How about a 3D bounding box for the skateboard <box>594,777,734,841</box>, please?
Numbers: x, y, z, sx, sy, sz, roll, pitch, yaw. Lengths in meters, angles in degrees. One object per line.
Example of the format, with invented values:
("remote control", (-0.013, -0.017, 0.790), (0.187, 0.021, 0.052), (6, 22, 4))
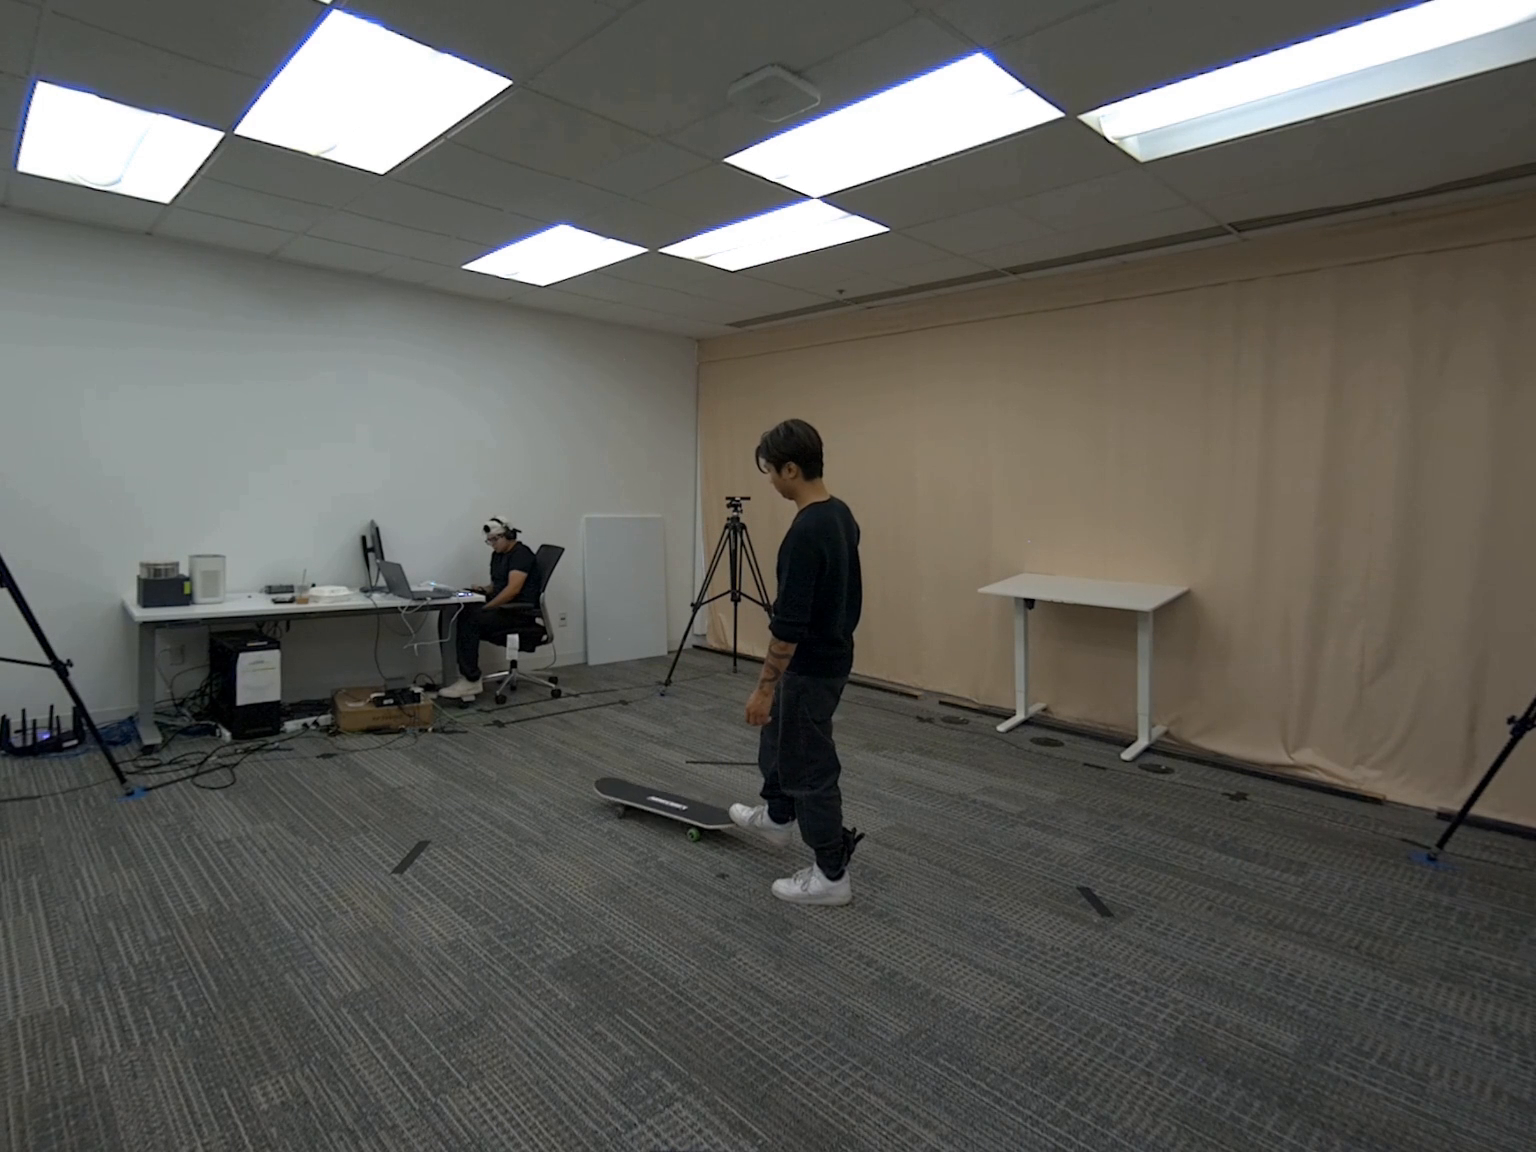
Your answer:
("skateboard", (-0.440, 1.001, 3.591), (0.804, 0.110, 0.189), (5, 5, 34))
